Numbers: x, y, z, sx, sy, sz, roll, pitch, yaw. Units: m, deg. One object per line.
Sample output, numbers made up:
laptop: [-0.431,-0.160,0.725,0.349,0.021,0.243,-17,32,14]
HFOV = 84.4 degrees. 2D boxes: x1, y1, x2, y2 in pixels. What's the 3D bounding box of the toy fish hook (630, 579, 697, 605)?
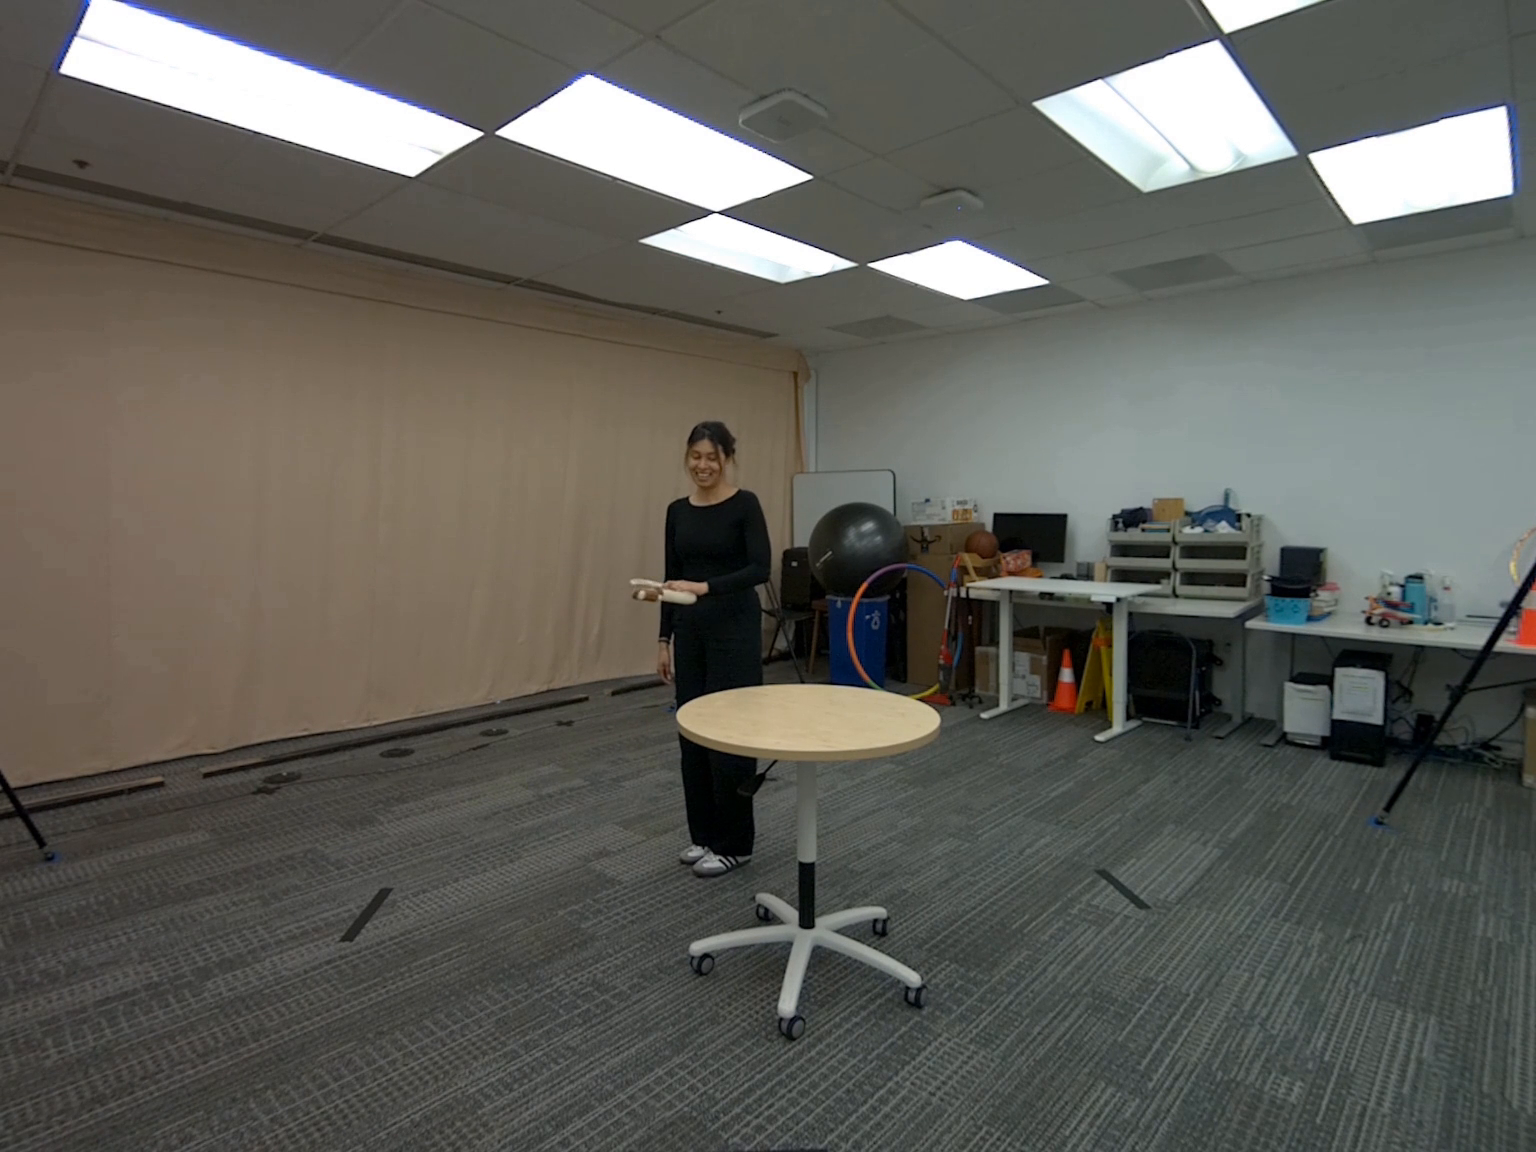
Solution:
toy fish hook: [-0.375,0.066,2.747,0.227,0.048,0.500,12,0,9]
